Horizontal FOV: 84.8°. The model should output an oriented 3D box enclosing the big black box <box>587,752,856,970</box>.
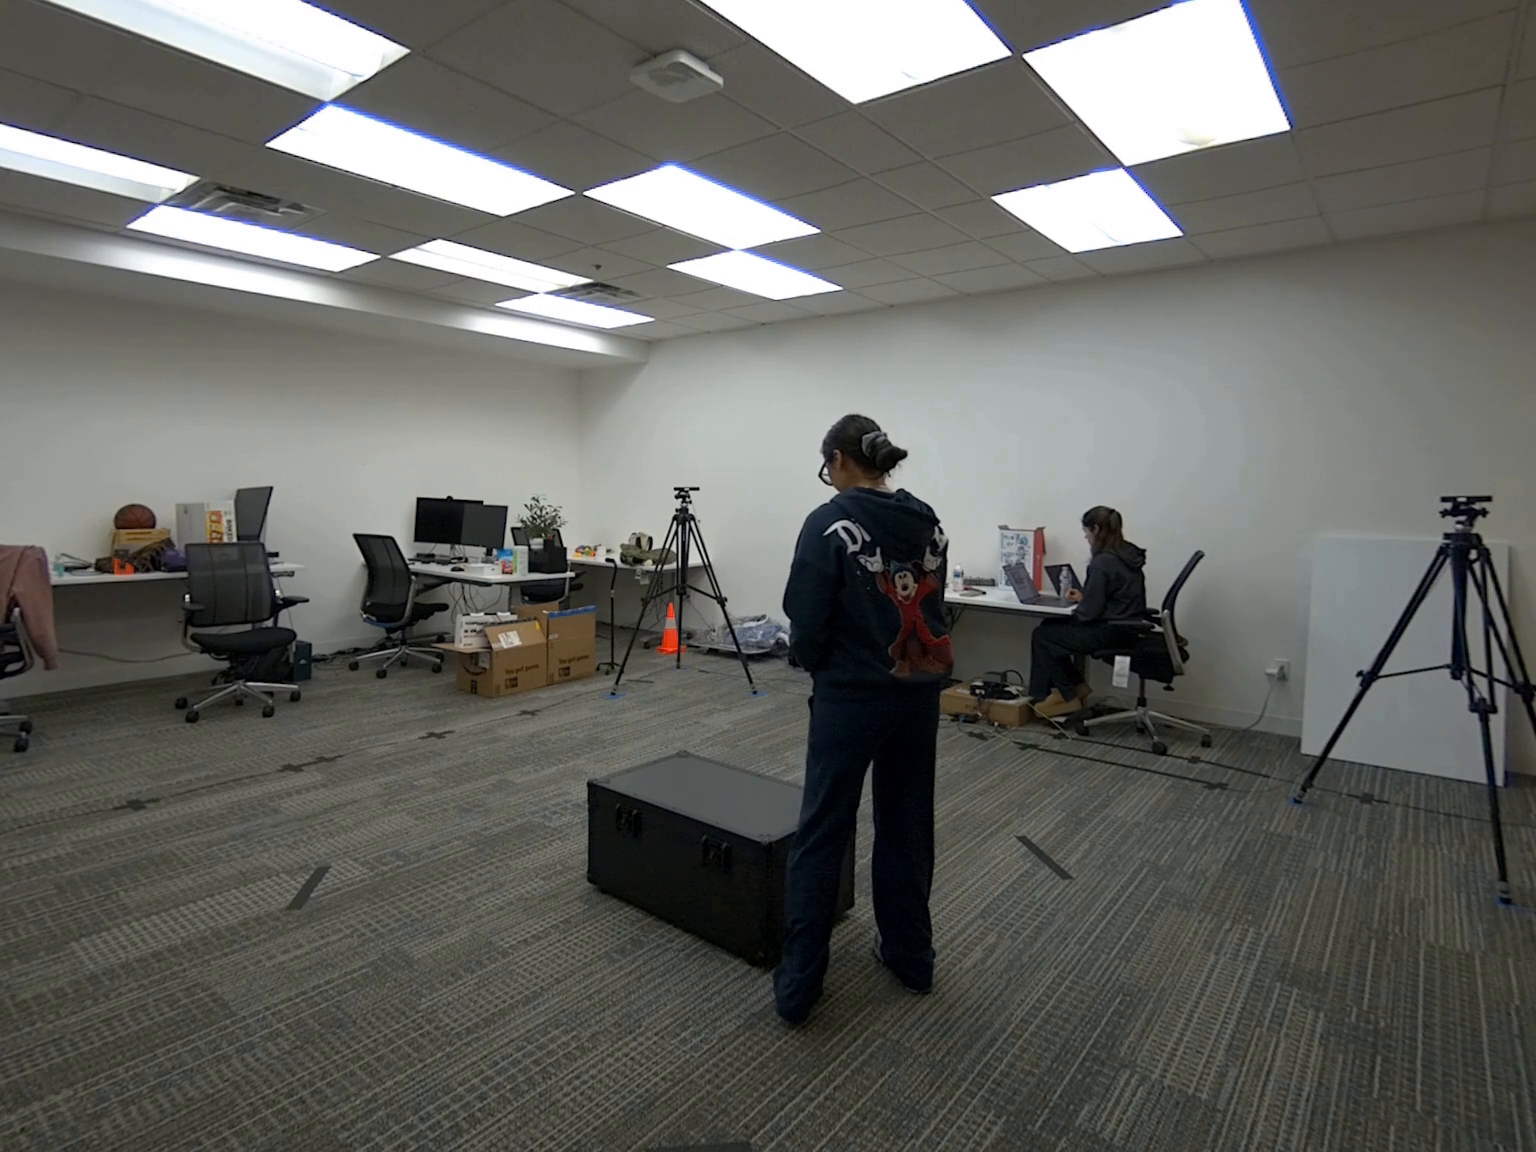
[{"bbox_3d":[-0.202,0.900,2.879,0.891,0.395,0.506,6,7,38],"label":"big black box"}]
